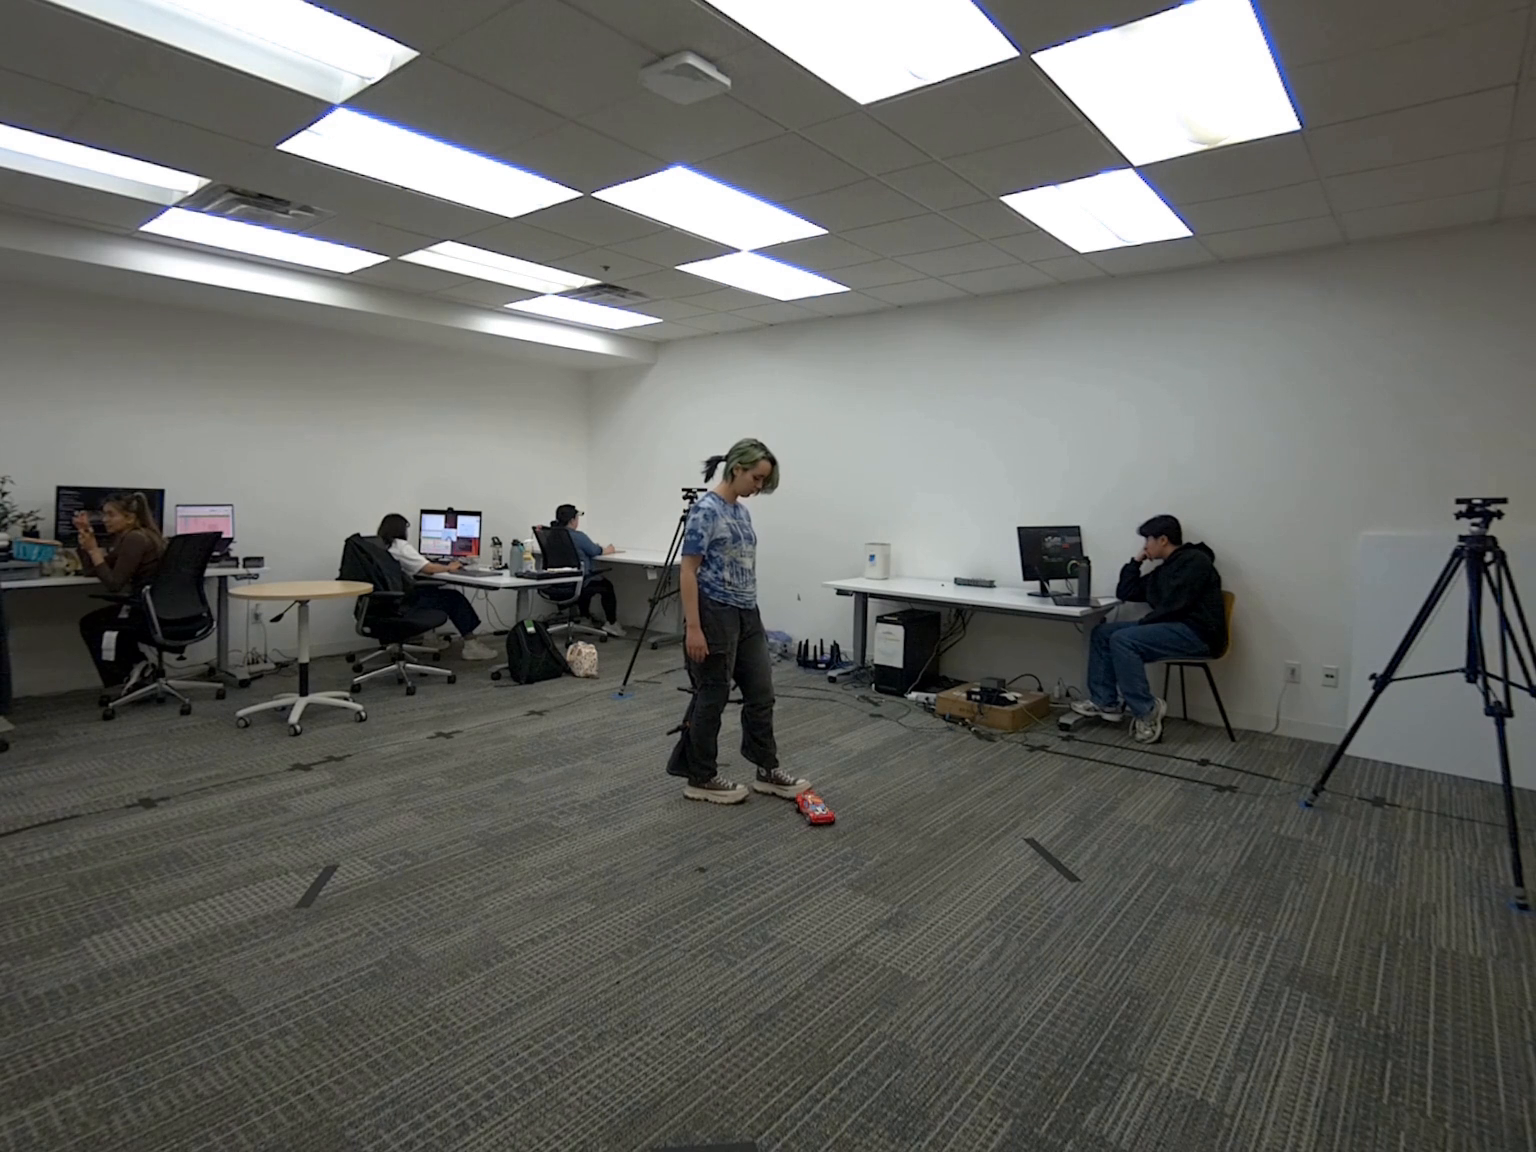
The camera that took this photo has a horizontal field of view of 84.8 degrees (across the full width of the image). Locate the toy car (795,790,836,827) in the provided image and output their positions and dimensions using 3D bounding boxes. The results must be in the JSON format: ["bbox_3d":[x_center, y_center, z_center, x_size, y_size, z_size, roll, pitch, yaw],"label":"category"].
[{"bbox_3d":[0.188,0.995,3.647,0.128,0.082,0.262,-1,16,-15],"label":"toy car"}]
